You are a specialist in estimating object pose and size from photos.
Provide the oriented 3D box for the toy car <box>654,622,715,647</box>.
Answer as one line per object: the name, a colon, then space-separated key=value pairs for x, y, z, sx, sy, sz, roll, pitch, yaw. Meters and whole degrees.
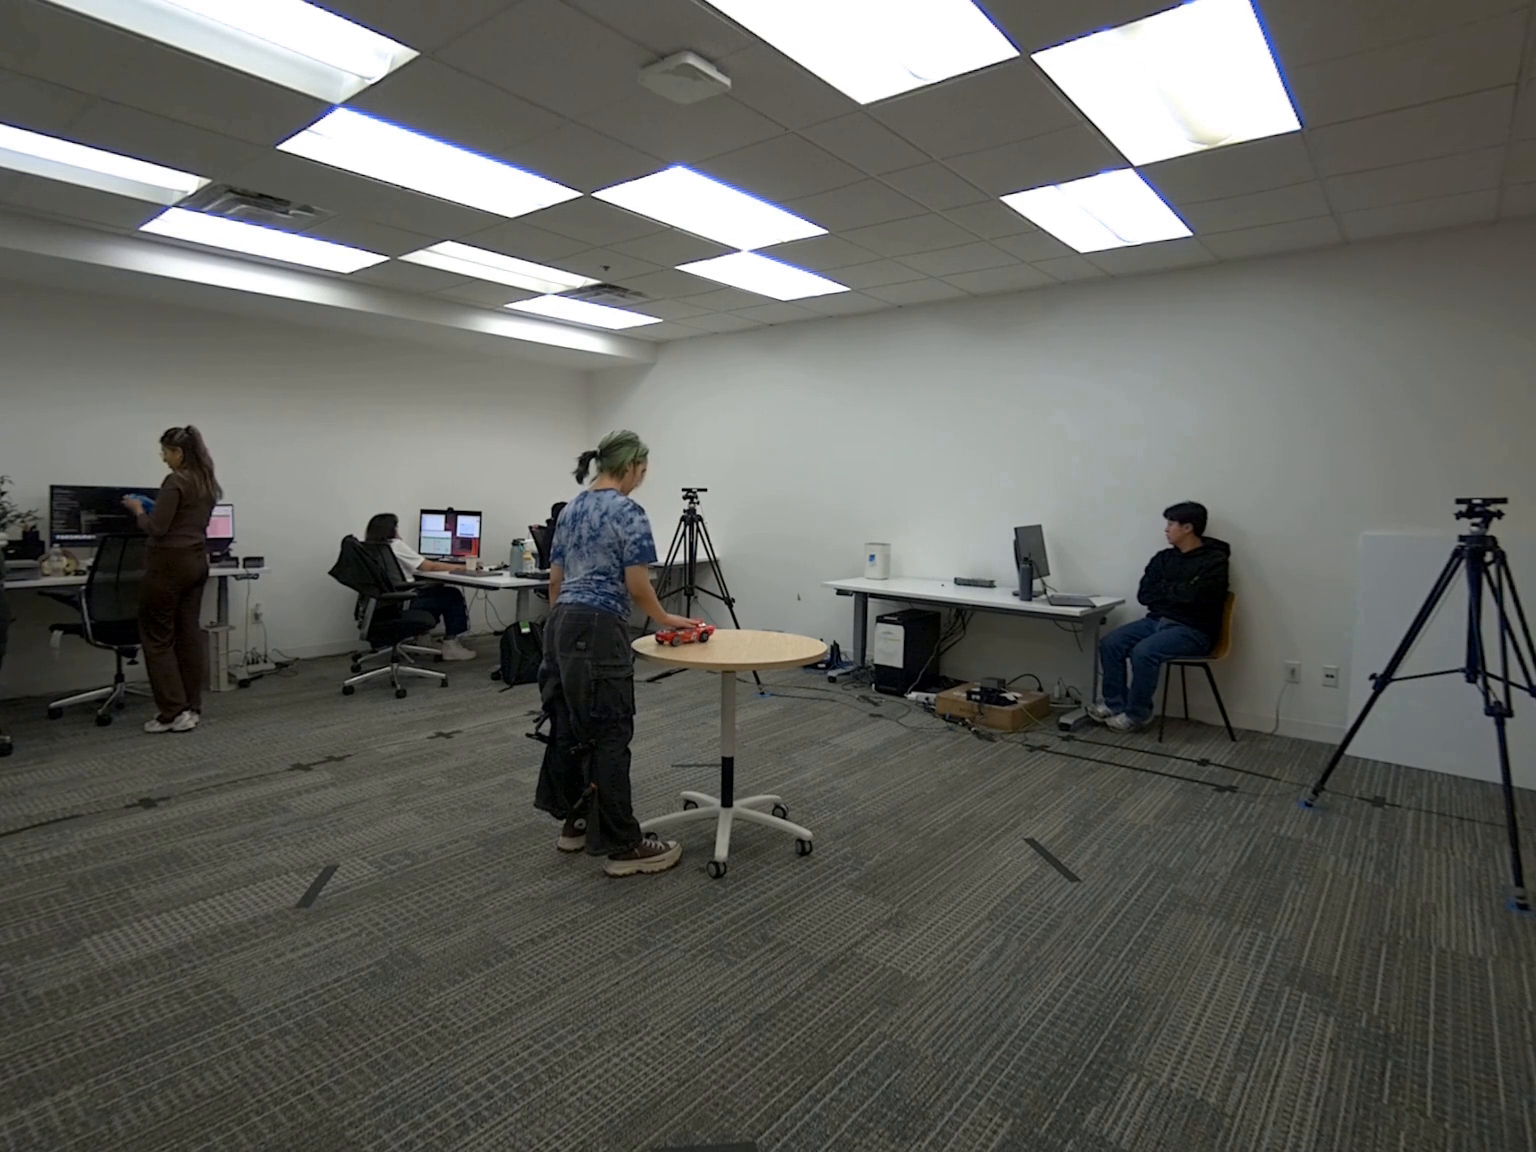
toy car: x=-0.337 y=0.232 z=3.380 sx=0.249 sy=0.082 sz=0.135 roll=-18 pitch=15 yaw=-41
